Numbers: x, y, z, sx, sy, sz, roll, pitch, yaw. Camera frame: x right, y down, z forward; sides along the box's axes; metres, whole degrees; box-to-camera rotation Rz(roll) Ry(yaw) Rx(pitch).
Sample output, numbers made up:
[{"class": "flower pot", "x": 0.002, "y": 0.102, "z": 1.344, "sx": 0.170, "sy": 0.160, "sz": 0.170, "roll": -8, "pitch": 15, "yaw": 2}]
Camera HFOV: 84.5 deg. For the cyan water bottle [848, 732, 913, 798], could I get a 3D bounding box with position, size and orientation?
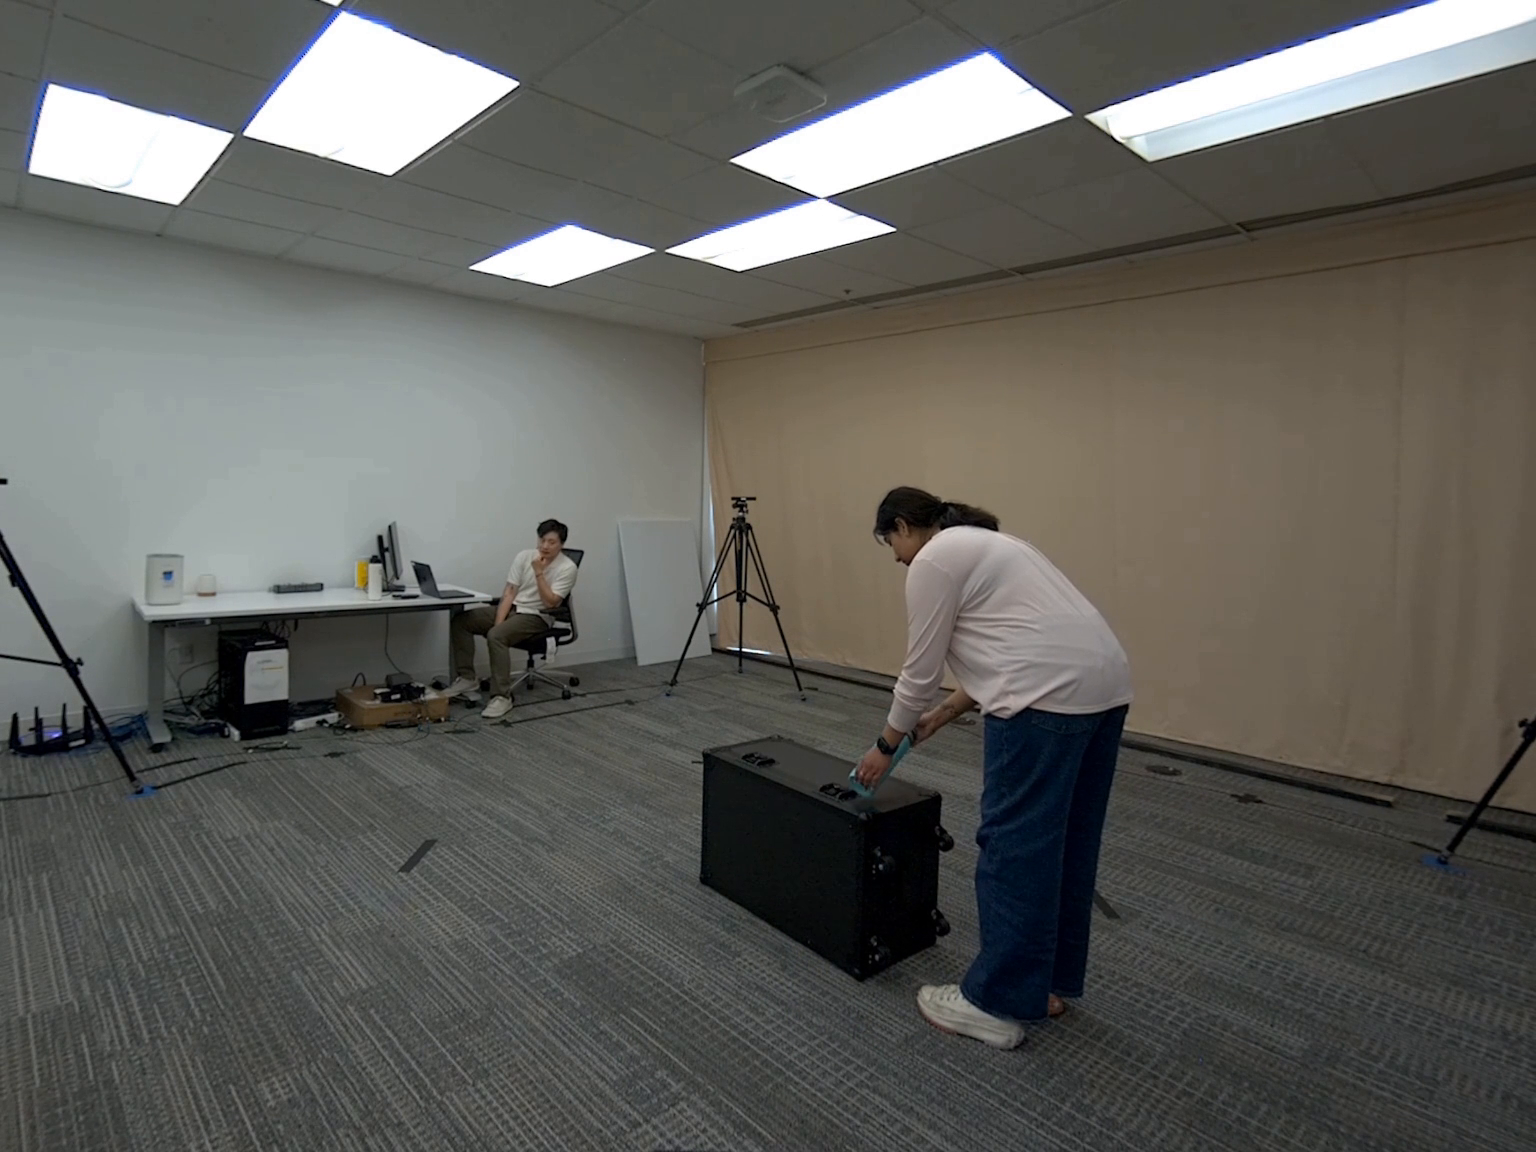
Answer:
[{"class": "cyan water bottle", "x": 0.368, "y": 0.568, "z": 2.614, "sx": 0.095, "sy": 0.090, "sz": 0.282, "roll": 5, "pitch": 39, "yaw": 46}]
